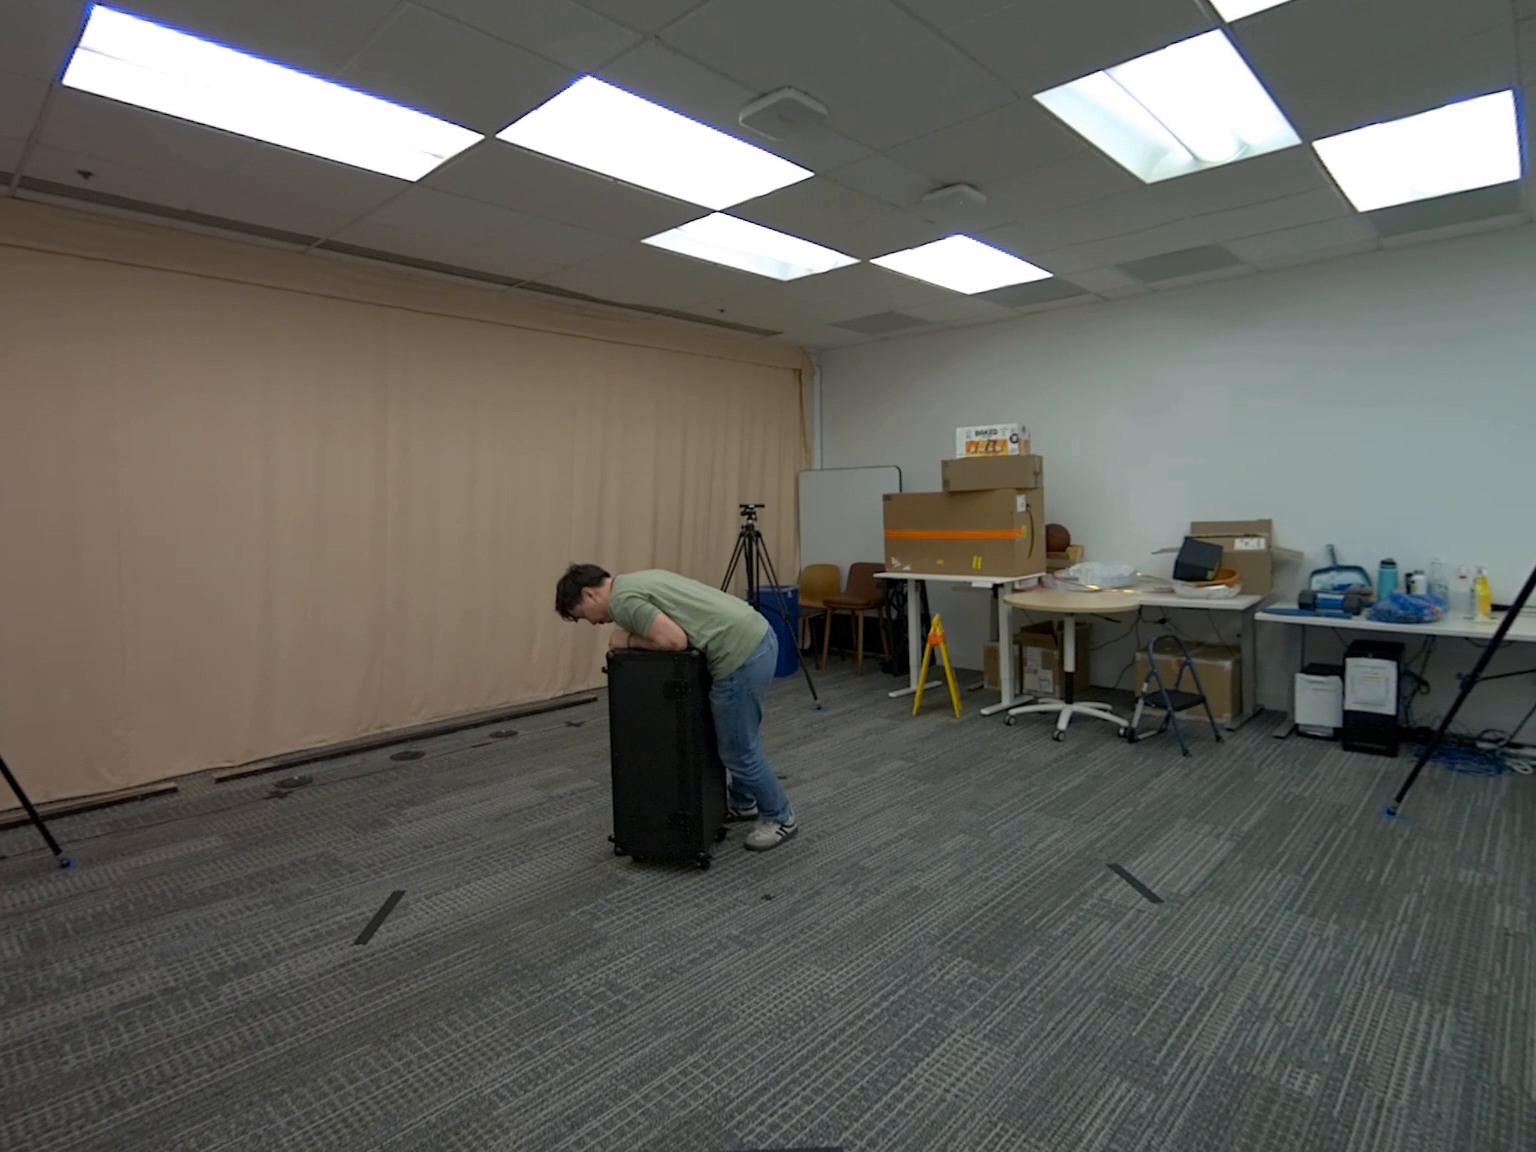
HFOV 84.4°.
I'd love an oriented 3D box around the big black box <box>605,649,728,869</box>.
[{"bbox_3d":[-0.403,0.692,3.380,0.400,0.860,0.518,-3,3,7],"label":"big black box"}]
